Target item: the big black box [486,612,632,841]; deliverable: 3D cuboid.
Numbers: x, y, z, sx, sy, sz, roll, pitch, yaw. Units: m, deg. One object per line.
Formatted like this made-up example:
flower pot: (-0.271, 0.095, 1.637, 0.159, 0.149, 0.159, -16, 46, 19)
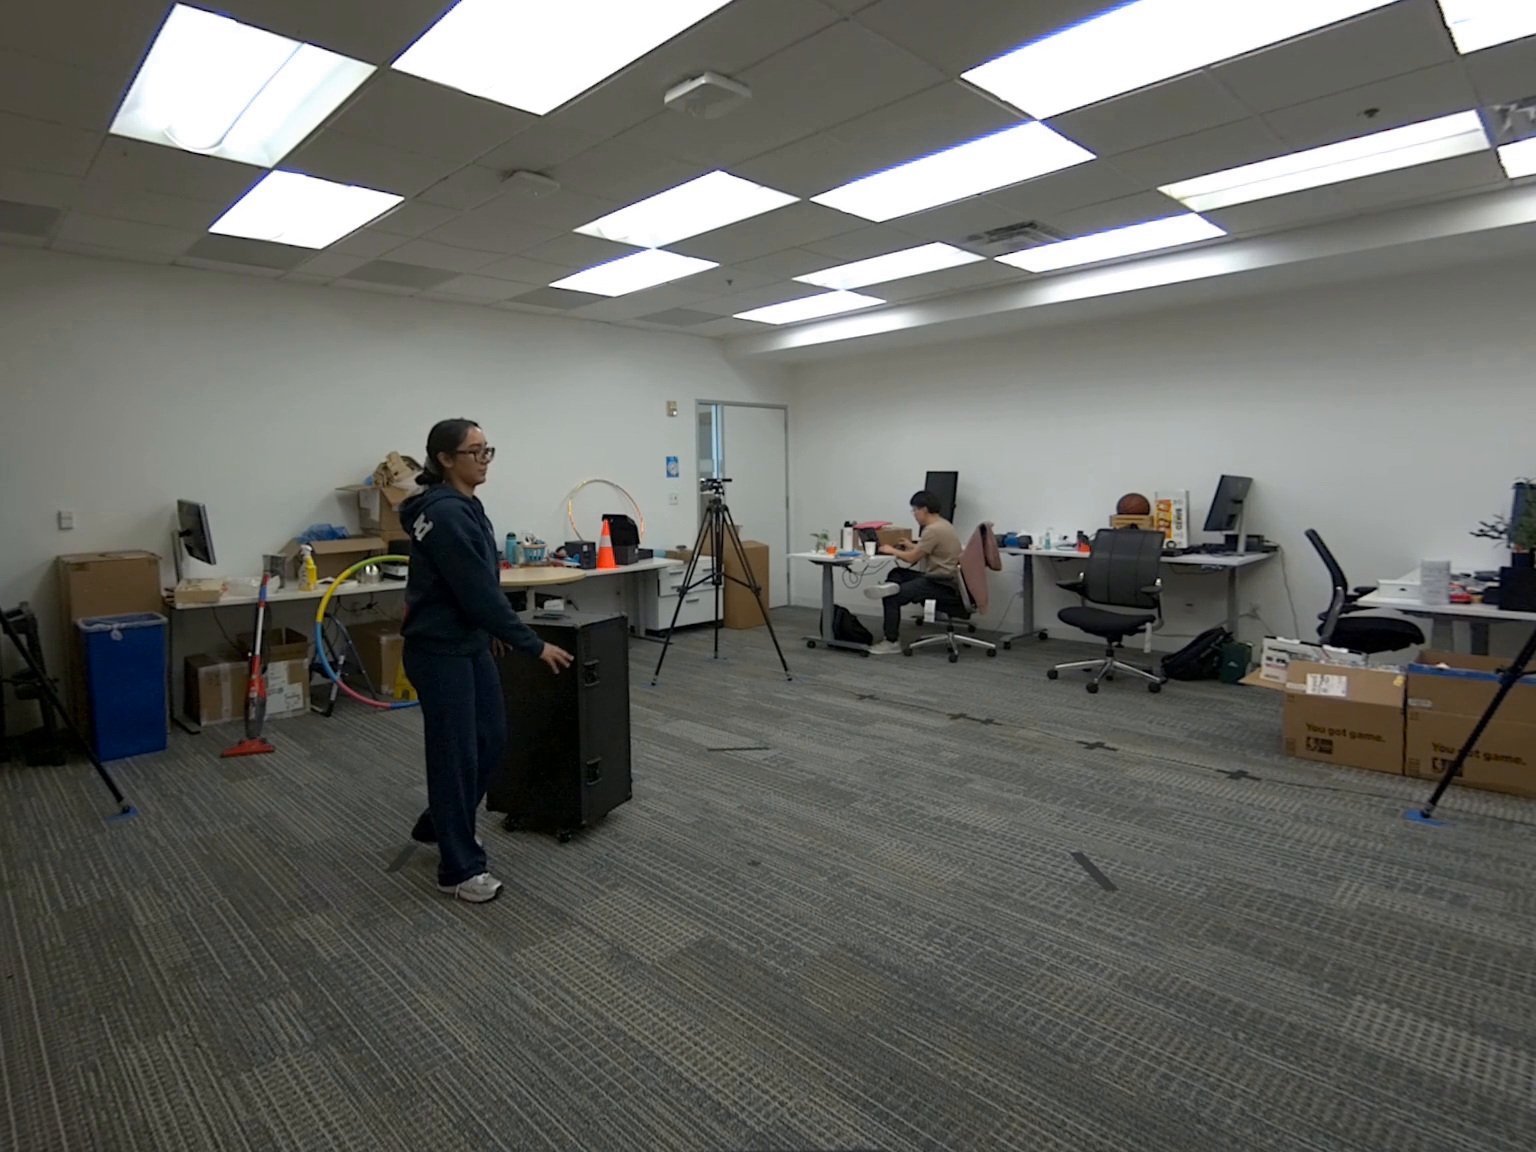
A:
big black box: (-0.859, 0.587, 3.527, 0.534, 0.860, 0.387, 1, 3, 27)
